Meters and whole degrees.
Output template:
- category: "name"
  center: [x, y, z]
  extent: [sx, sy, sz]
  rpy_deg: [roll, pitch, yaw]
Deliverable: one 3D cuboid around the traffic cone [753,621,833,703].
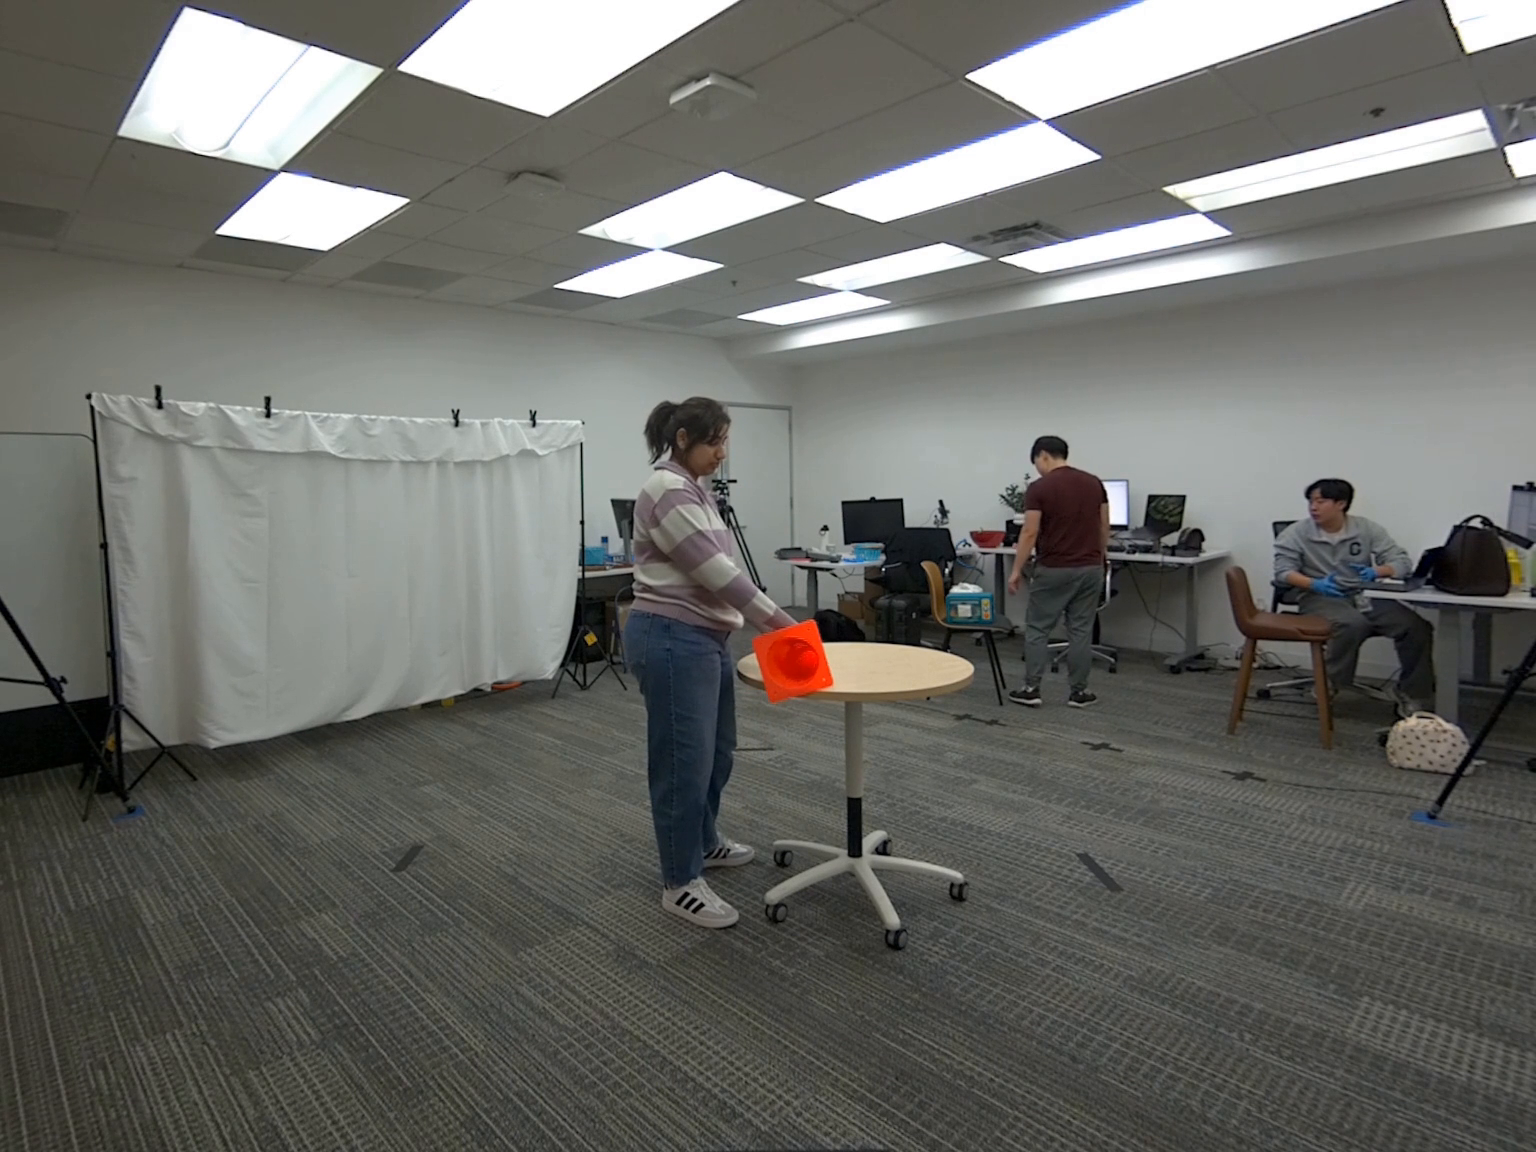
- category: "traffic cone"
  center: [0.107, 0.263, 2.678]
  extent: [0.206, 0.206, 0.376]
  rpy_deg: [-18, -9, 12]
